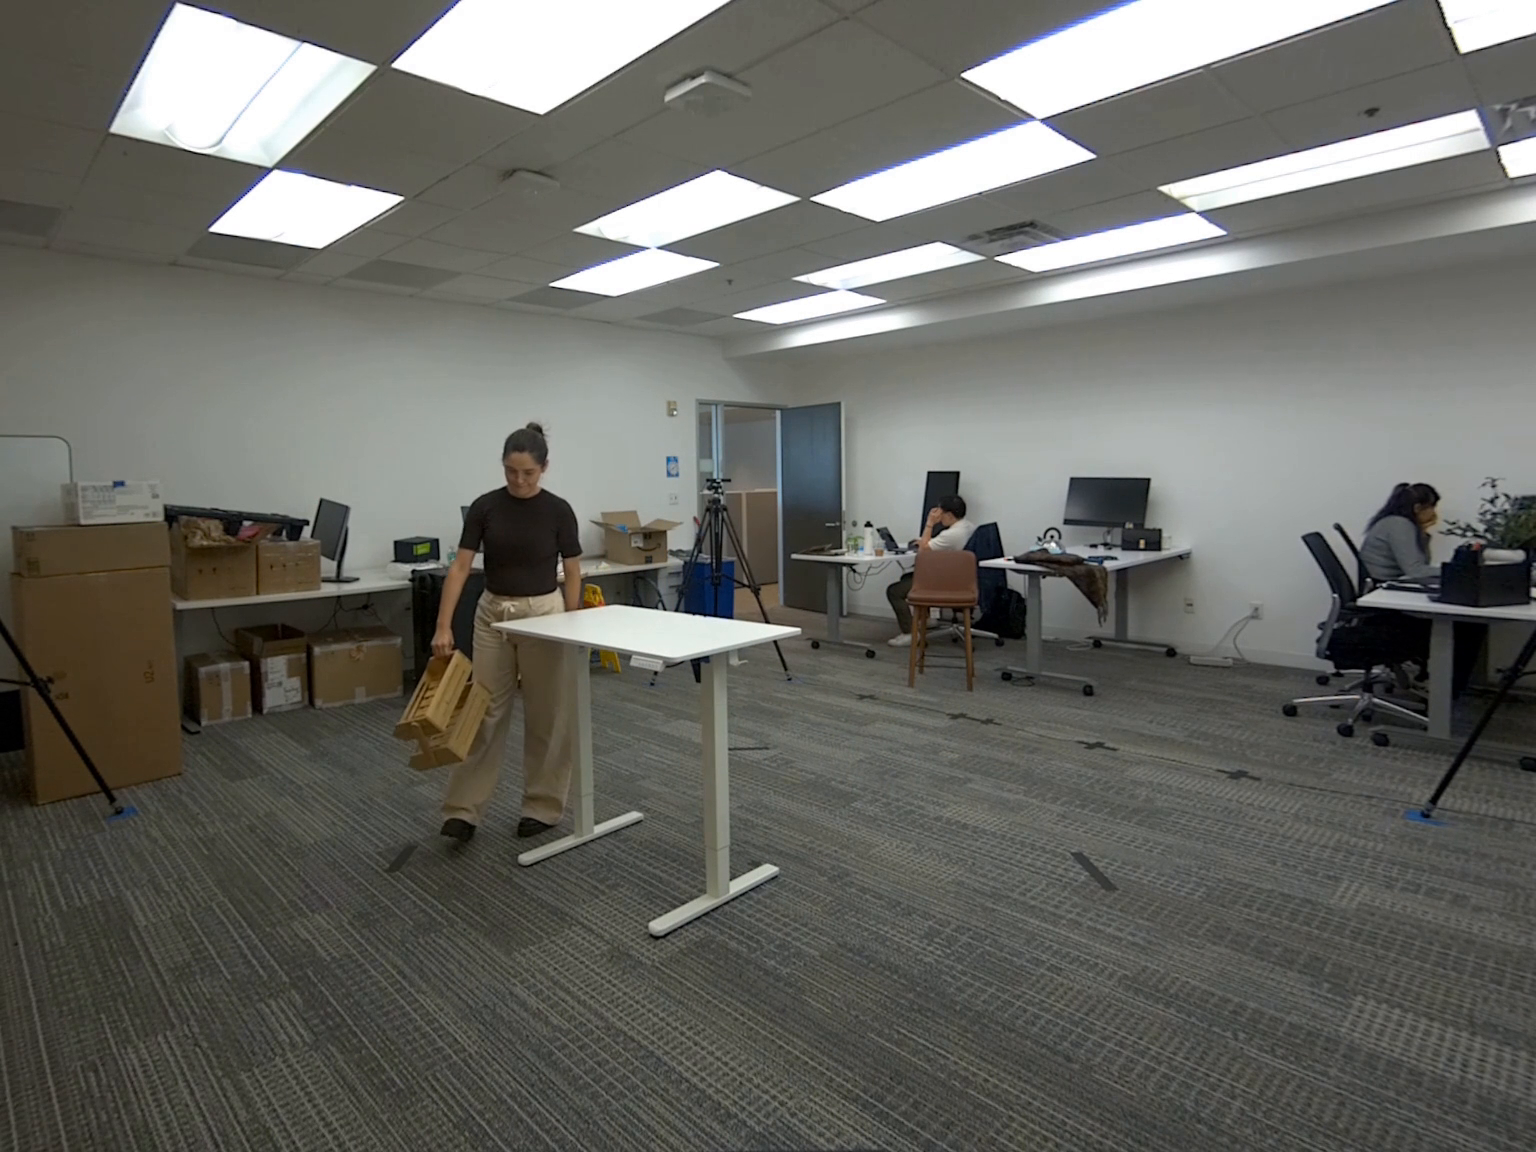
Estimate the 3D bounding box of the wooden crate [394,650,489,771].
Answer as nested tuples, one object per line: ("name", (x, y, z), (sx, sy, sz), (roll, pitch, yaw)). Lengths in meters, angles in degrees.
("wooden crate", (-1.225, 0.501, 3.154), (0.307, 0.264, 0.331), (-17, 38, 25))
